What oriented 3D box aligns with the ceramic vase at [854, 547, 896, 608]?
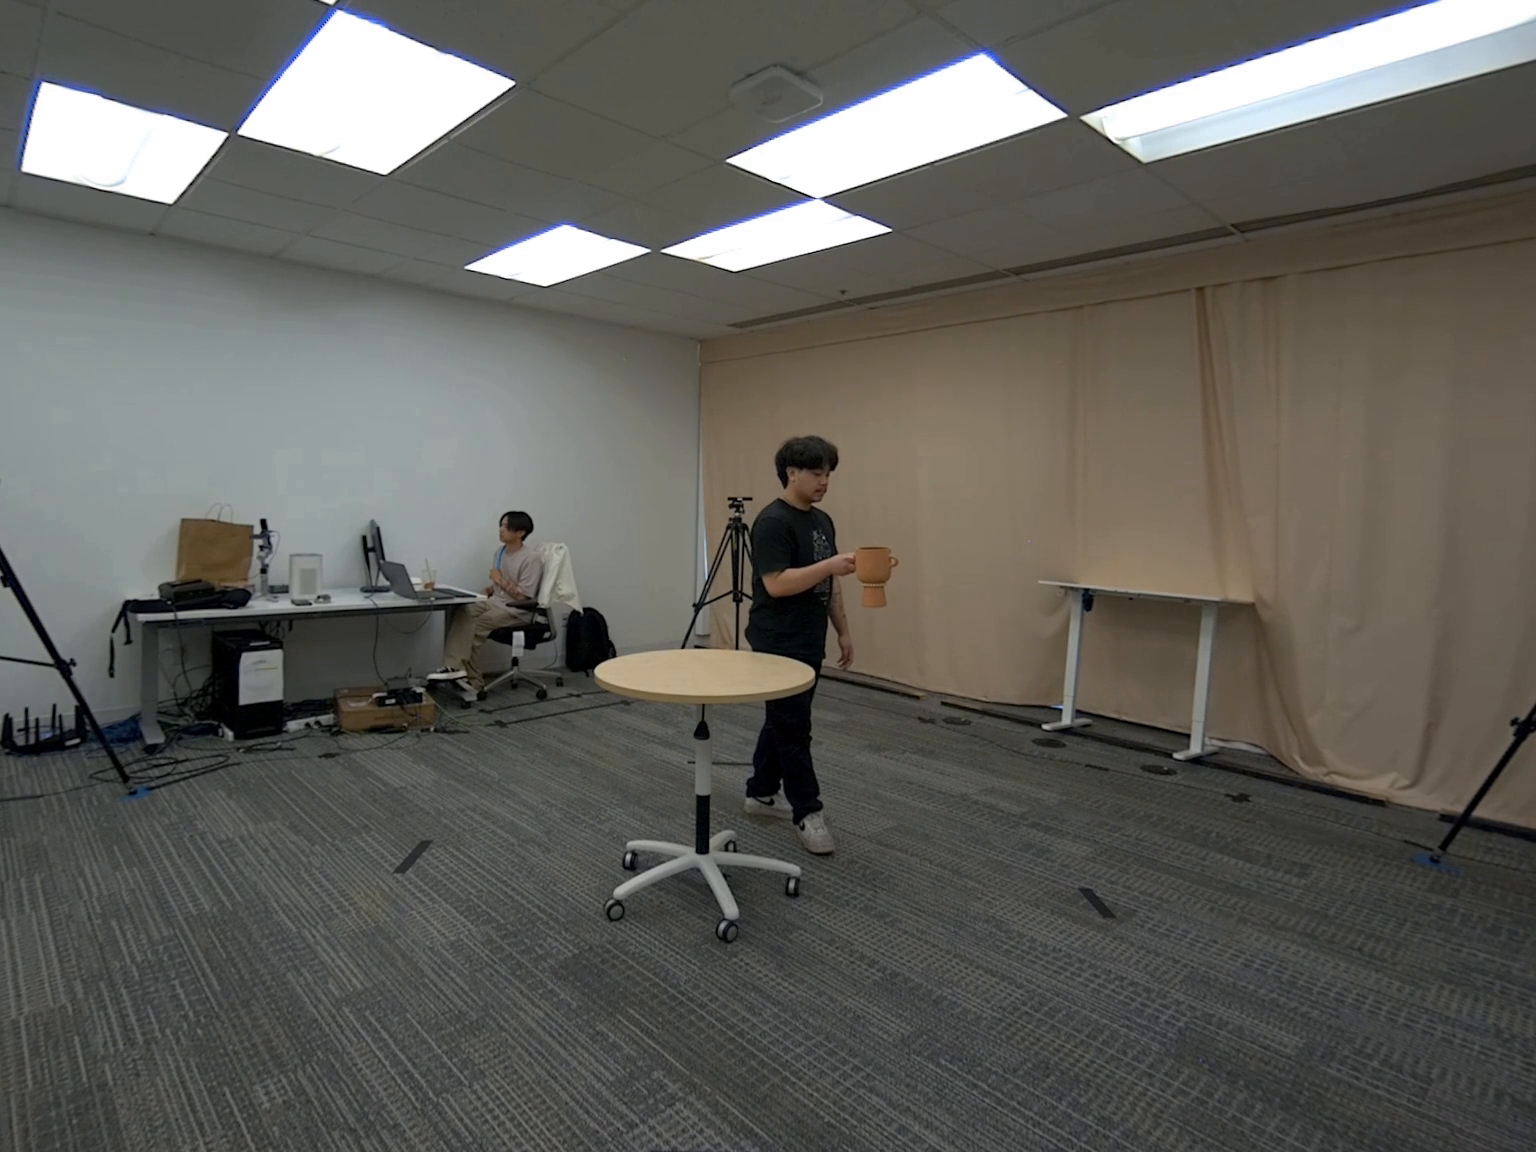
[{"bbox_3d":[0.388,0.001,3.190,0.132,0.219,0.162,-2,6,-21],"label":"ceramic vase"}]
